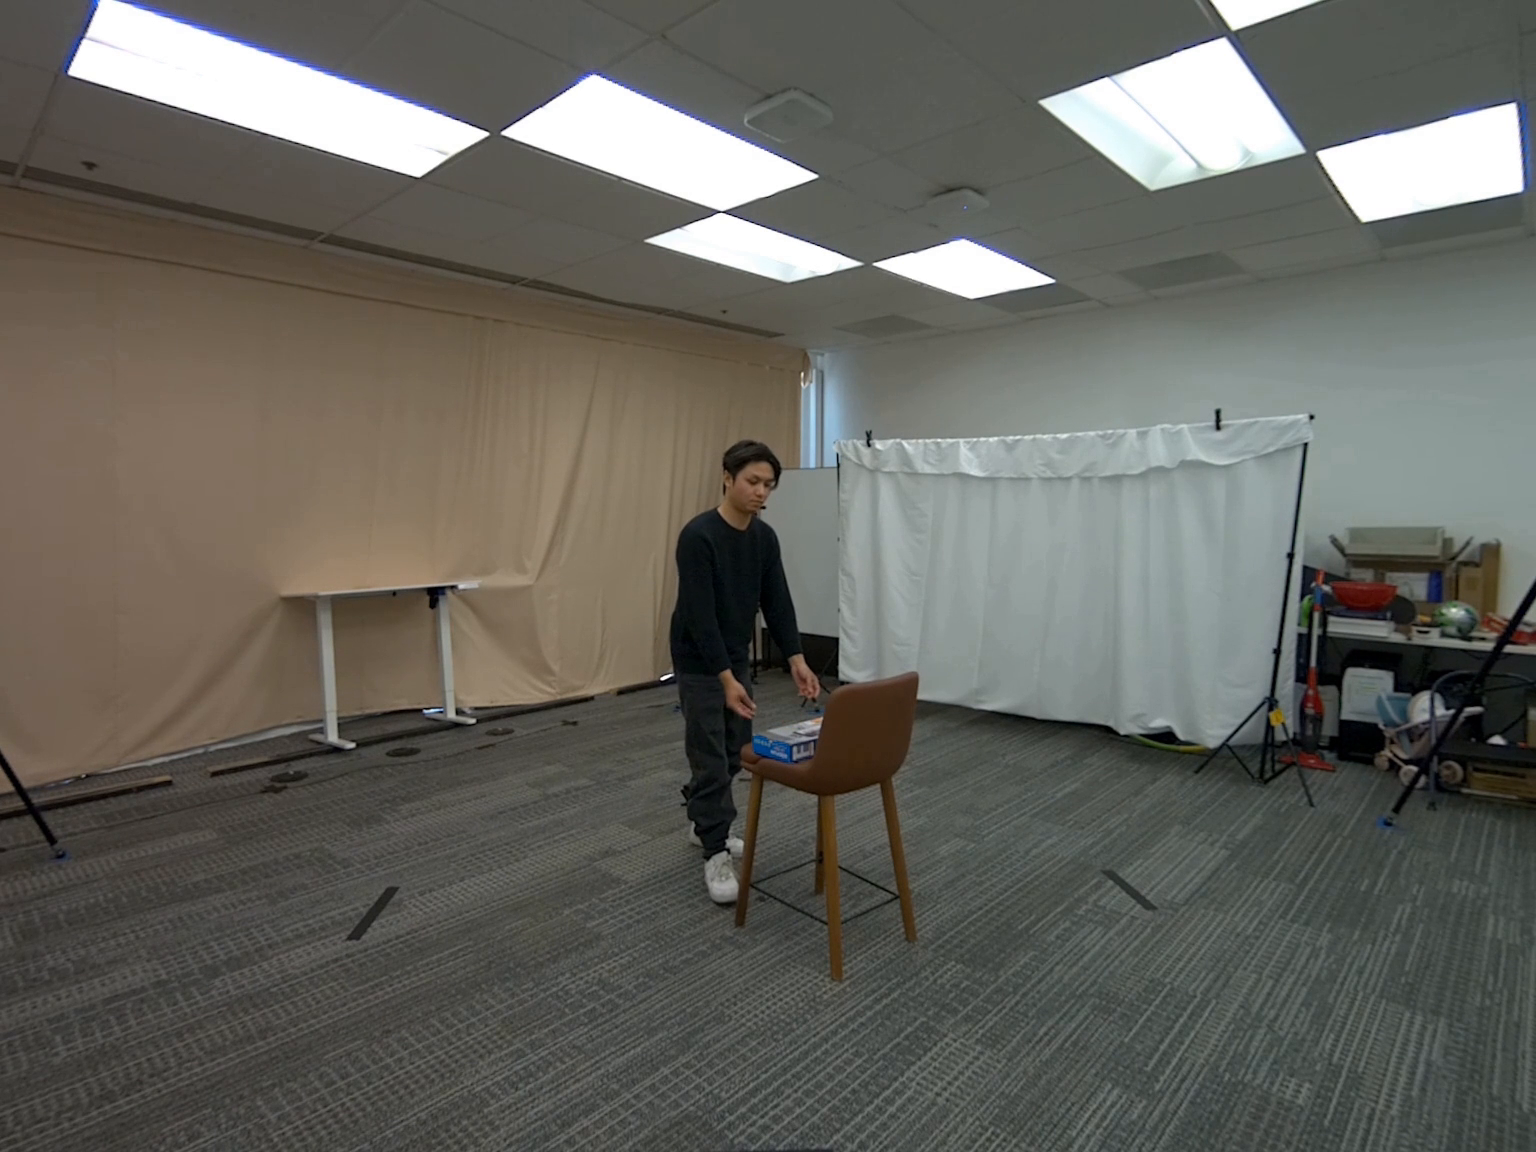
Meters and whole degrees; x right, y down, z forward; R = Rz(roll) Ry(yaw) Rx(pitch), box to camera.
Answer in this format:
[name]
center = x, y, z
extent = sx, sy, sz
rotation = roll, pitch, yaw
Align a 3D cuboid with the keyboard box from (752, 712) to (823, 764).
[keyboard box]
center = 0.169, 0.514, 2.738
extent = 0.424, 0.059, 0.182
rotation = -5, 6, -41
